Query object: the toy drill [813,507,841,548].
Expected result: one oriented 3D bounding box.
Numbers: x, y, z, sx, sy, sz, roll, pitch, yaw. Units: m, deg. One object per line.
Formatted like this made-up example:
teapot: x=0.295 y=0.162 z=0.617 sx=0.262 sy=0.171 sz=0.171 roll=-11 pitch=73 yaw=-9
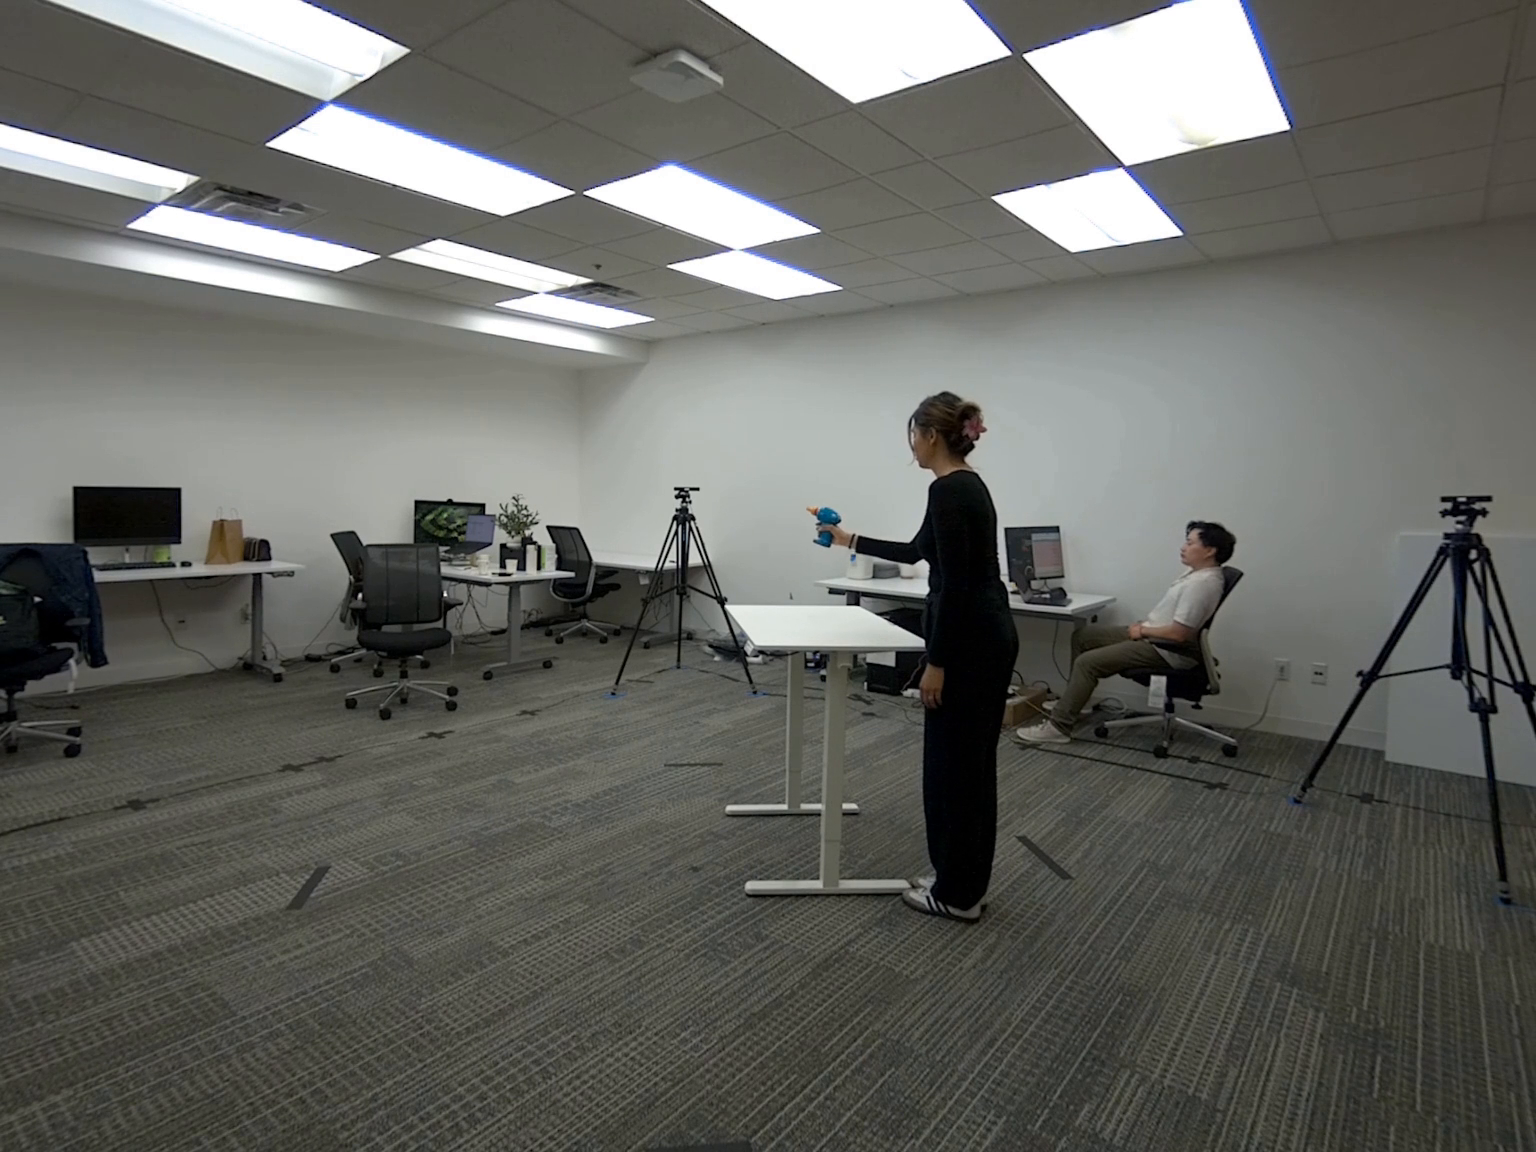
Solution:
toy drill: x=0.195 y=-0.204 z=3.304 sx=0.177 sy=0.145 sz=0.059 roll=24 pitch=11 yaw=38
